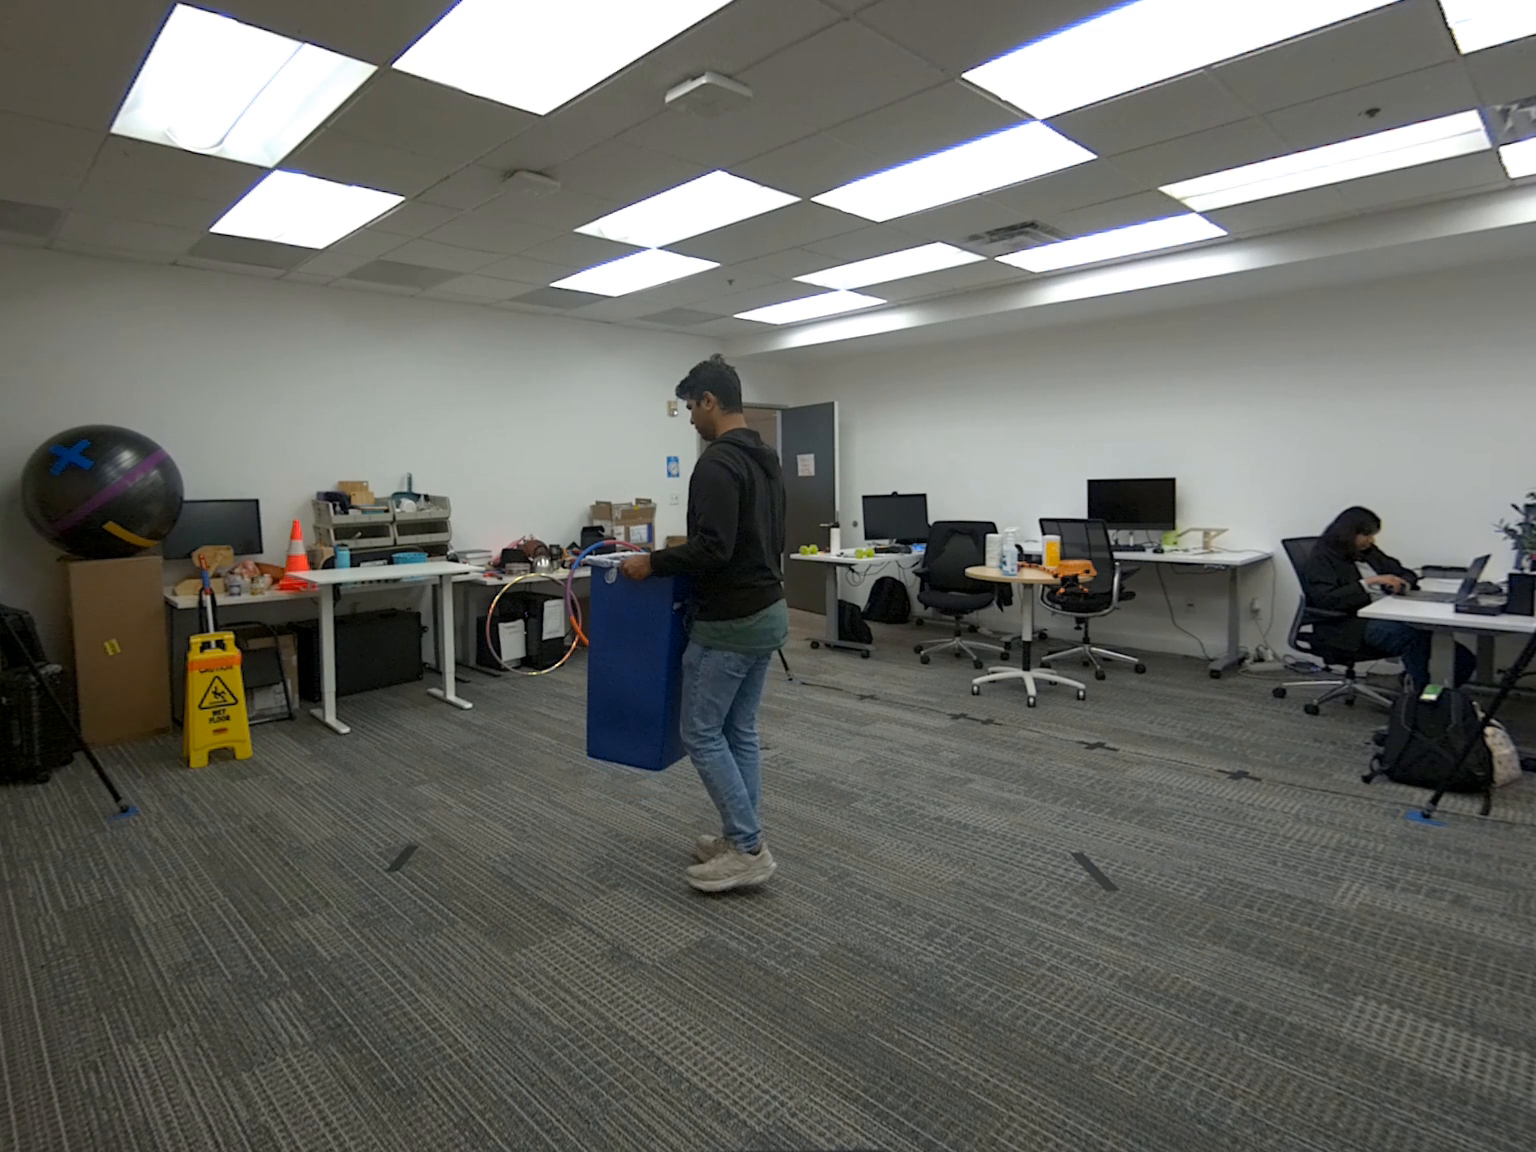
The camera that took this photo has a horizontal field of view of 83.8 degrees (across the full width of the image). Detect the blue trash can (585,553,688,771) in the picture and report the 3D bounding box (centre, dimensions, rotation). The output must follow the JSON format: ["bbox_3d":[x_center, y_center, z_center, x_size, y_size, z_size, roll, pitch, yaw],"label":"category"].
[{"bbox_3d":[-0.436,0.296,3.106,0.387,0.711,0.367,5,4,22],"label":"blue trash can"}]
